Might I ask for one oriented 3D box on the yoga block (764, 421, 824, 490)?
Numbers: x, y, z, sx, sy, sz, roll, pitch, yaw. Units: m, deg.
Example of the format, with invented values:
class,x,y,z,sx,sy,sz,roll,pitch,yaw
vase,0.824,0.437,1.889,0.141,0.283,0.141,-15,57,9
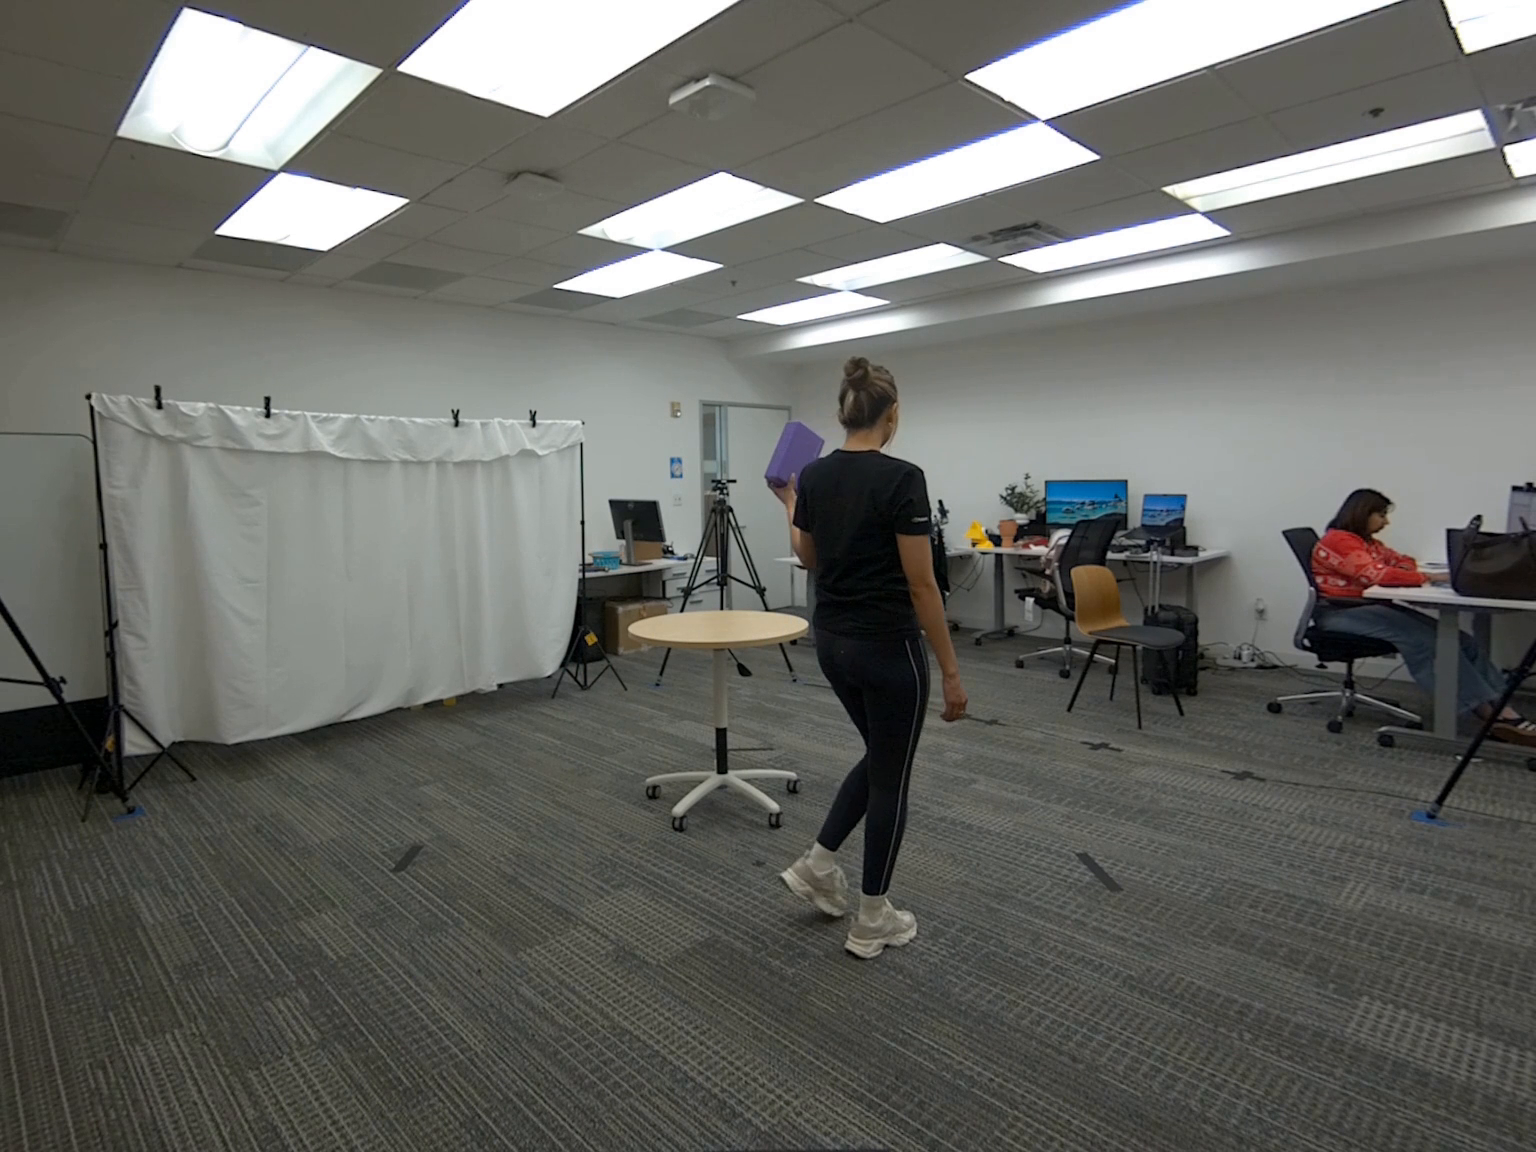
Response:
class,x,y,z,sx,sy,sz,roll,pitch,yaw
yoga block,0.096,-0.414,3.005,0.143,0.230,0.079,29,-13,-37
